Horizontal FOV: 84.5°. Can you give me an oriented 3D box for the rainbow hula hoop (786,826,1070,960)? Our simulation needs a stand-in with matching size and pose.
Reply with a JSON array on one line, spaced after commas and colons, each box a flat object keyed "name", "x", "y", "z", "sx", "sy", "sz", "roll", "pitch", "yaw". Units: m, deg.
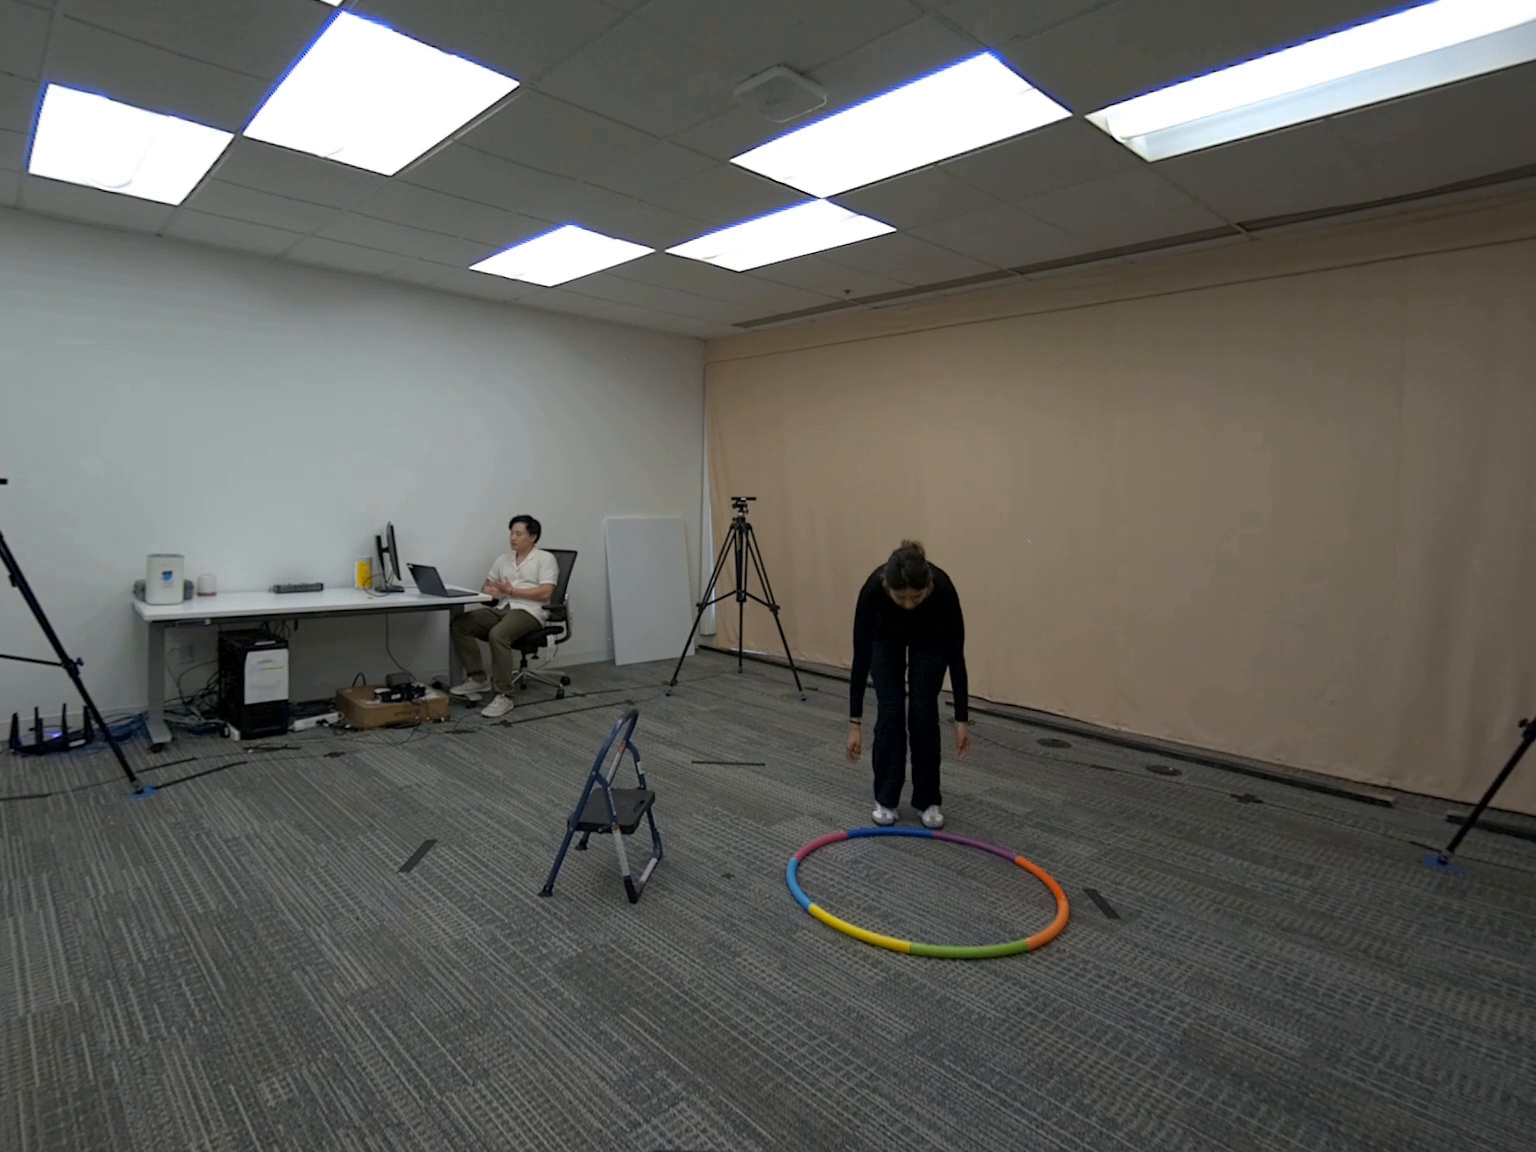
[{"name": "rainbow hula hoop", "x": 0.547, "y": 1.093, "z": 3.057, "sx": 0.978, "sy": 0.035, "sz": 0.982, "roll": 1, "pitch": 5, "yaw": -1}]
